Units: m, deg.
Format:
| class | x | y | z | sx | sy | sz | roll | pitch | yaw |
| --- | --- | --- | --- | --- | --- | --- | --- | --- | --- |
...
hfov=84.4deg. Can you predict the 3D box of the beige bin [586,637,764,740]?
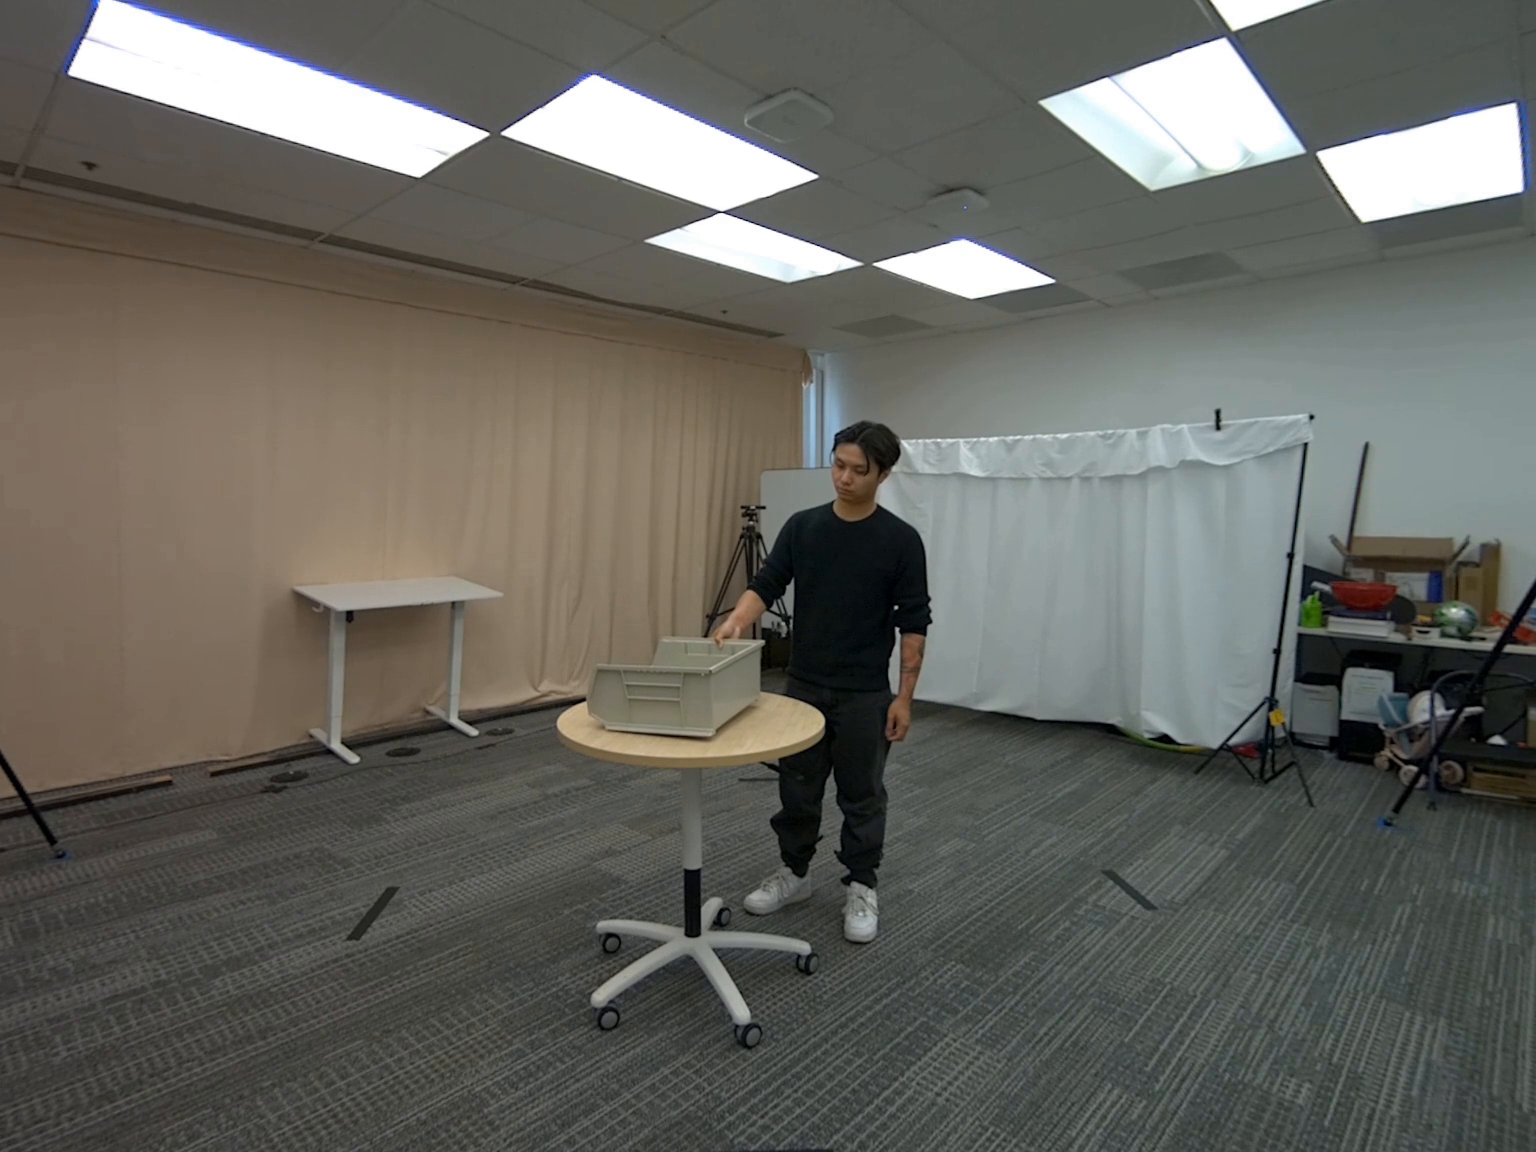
| class | x | y | z | sx | sy | sz | roll | pitch | yaw |
| --- | --- | --- | --- | --- | --- | --- | --- | --- | --- |
| beige bin | -0.249 | 0.309 | 2.414 | 0.385 | 0.188 | 0.415 | 1 | 5 | 19 |
